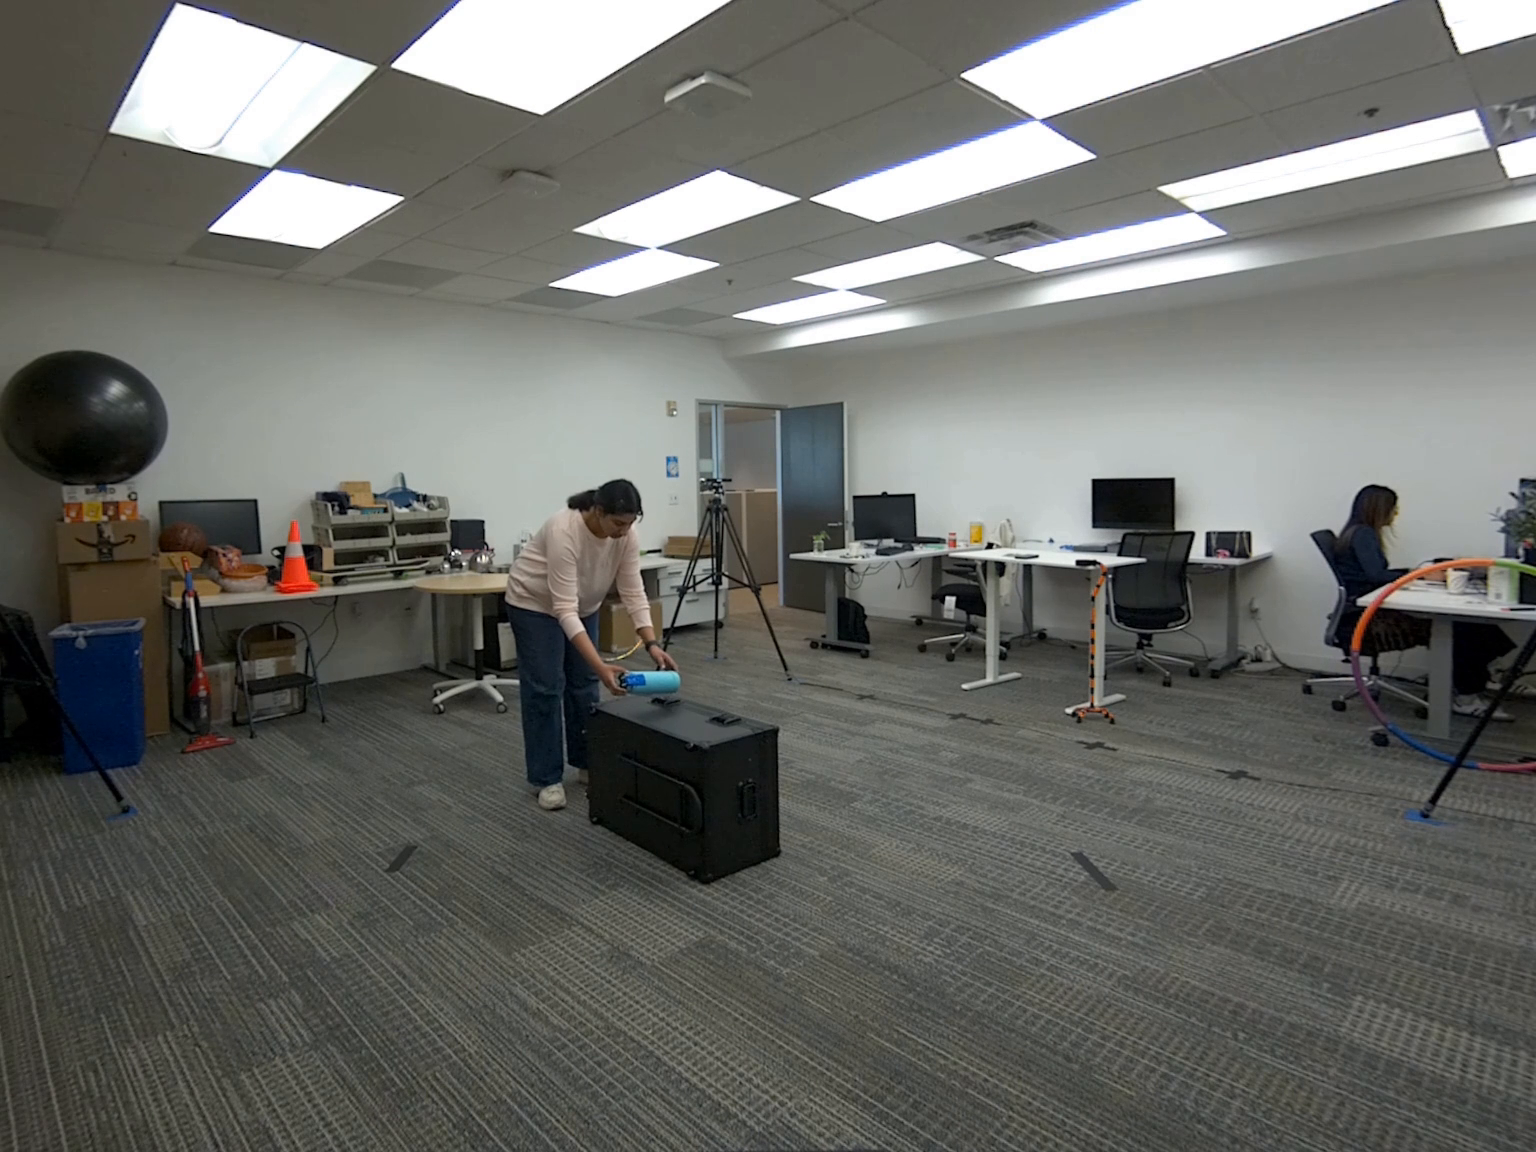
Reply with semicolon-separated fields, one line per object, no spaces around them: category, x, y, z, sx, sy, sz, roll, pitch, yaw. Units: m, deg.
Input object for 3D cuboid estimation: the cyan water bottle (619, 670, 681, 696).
cyan water bottle;-0.487;0.428;3.416;0.274;0.092;0.095;6;-2;-43
